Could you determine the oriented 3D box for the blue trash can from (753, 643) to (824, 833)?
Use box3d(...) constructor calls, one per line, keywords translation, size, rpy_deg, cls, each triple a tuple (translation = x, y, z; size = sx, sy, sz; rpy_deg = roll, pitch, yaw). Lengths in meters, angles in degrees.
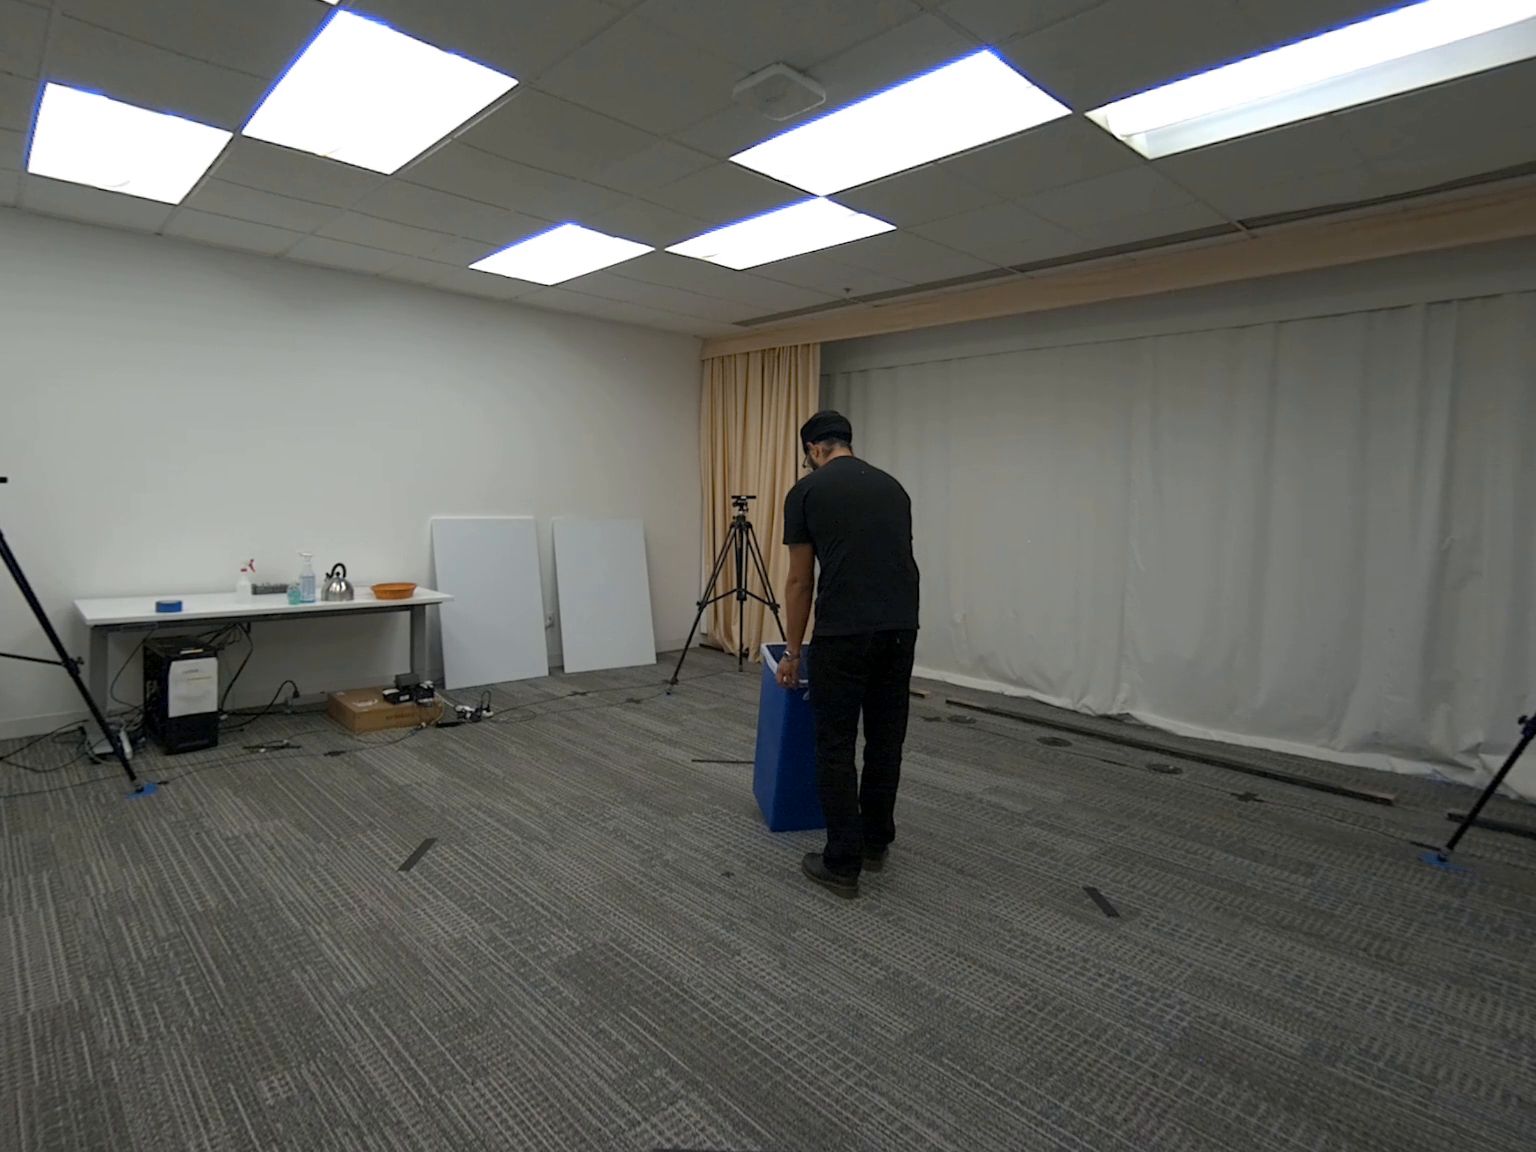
box3d(translation=(0.153, 0.685, 3.562), size=(0.373, 0.705, 0.383), rpy_deg=(0, 19, -18), cls="blue trash can")
